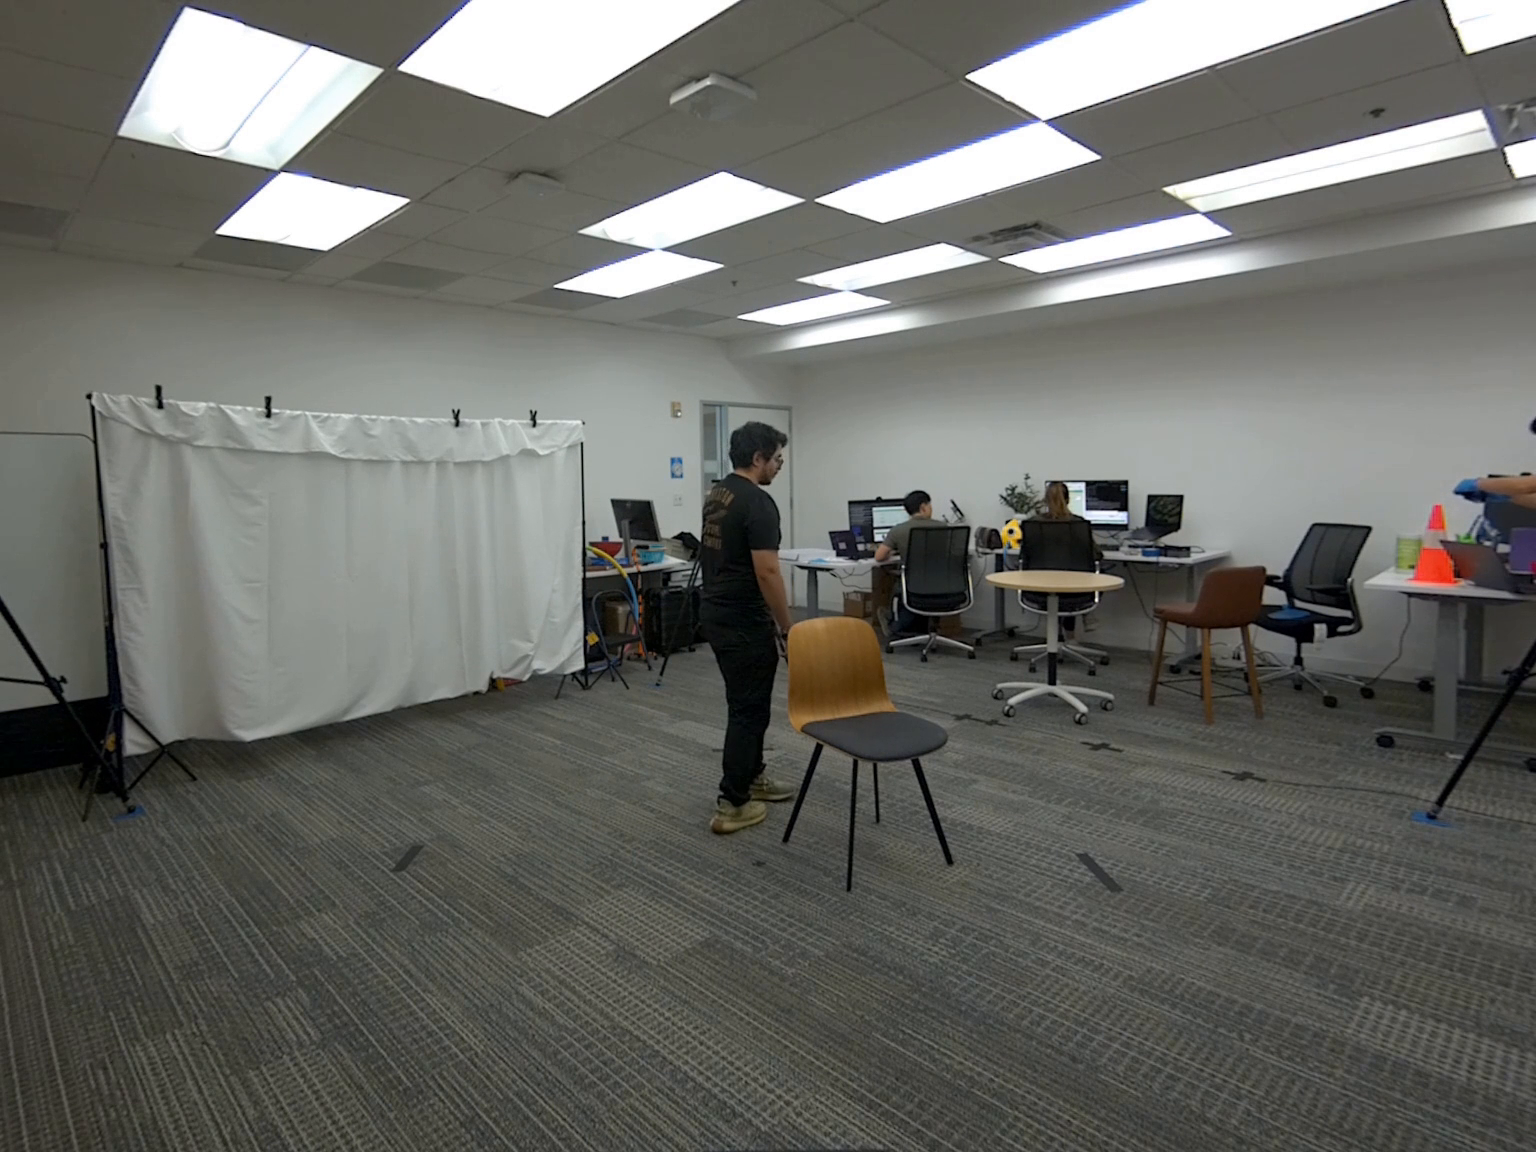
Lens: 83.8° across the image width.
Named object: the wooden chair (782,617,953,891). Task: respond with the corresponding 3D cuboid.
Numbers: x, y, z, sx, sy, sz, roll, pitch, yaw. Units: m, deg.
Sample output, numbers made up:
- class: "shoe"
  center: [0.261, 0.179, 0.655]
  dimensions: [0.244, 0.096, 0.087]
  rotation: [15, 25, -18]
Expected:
- class: "wooden chair"
  center: [0.359, 0.609, 3.140]
  dimensions: [0.467, 0.878, 0.535]
  rotation: [-2, 0, -27]
